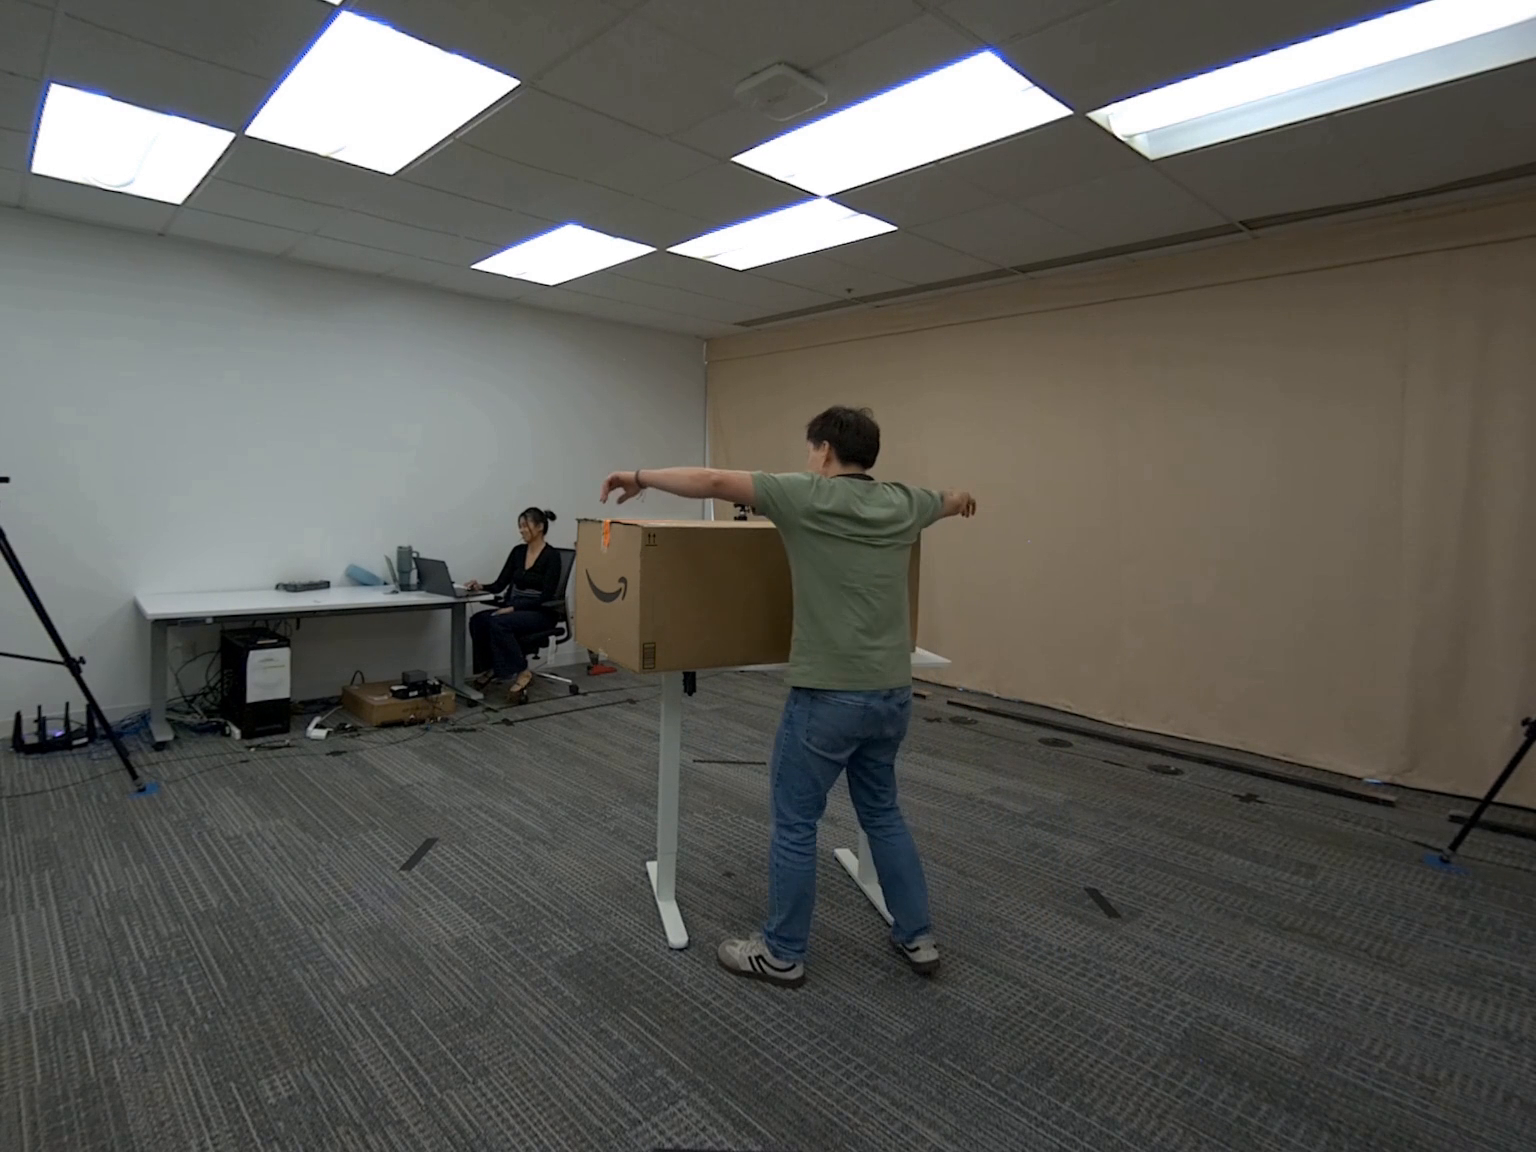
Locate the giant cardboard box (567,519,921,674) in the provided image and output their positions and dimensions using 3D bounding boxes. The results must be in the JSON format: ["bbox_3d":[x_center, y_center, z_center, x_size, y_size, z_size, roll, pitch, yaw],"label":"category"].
[{"bbox_3d":[-0.078,0.030,2.865,1.005,0.425,0.591,-1,6,-30],"label":"giant cardboard box"}]
